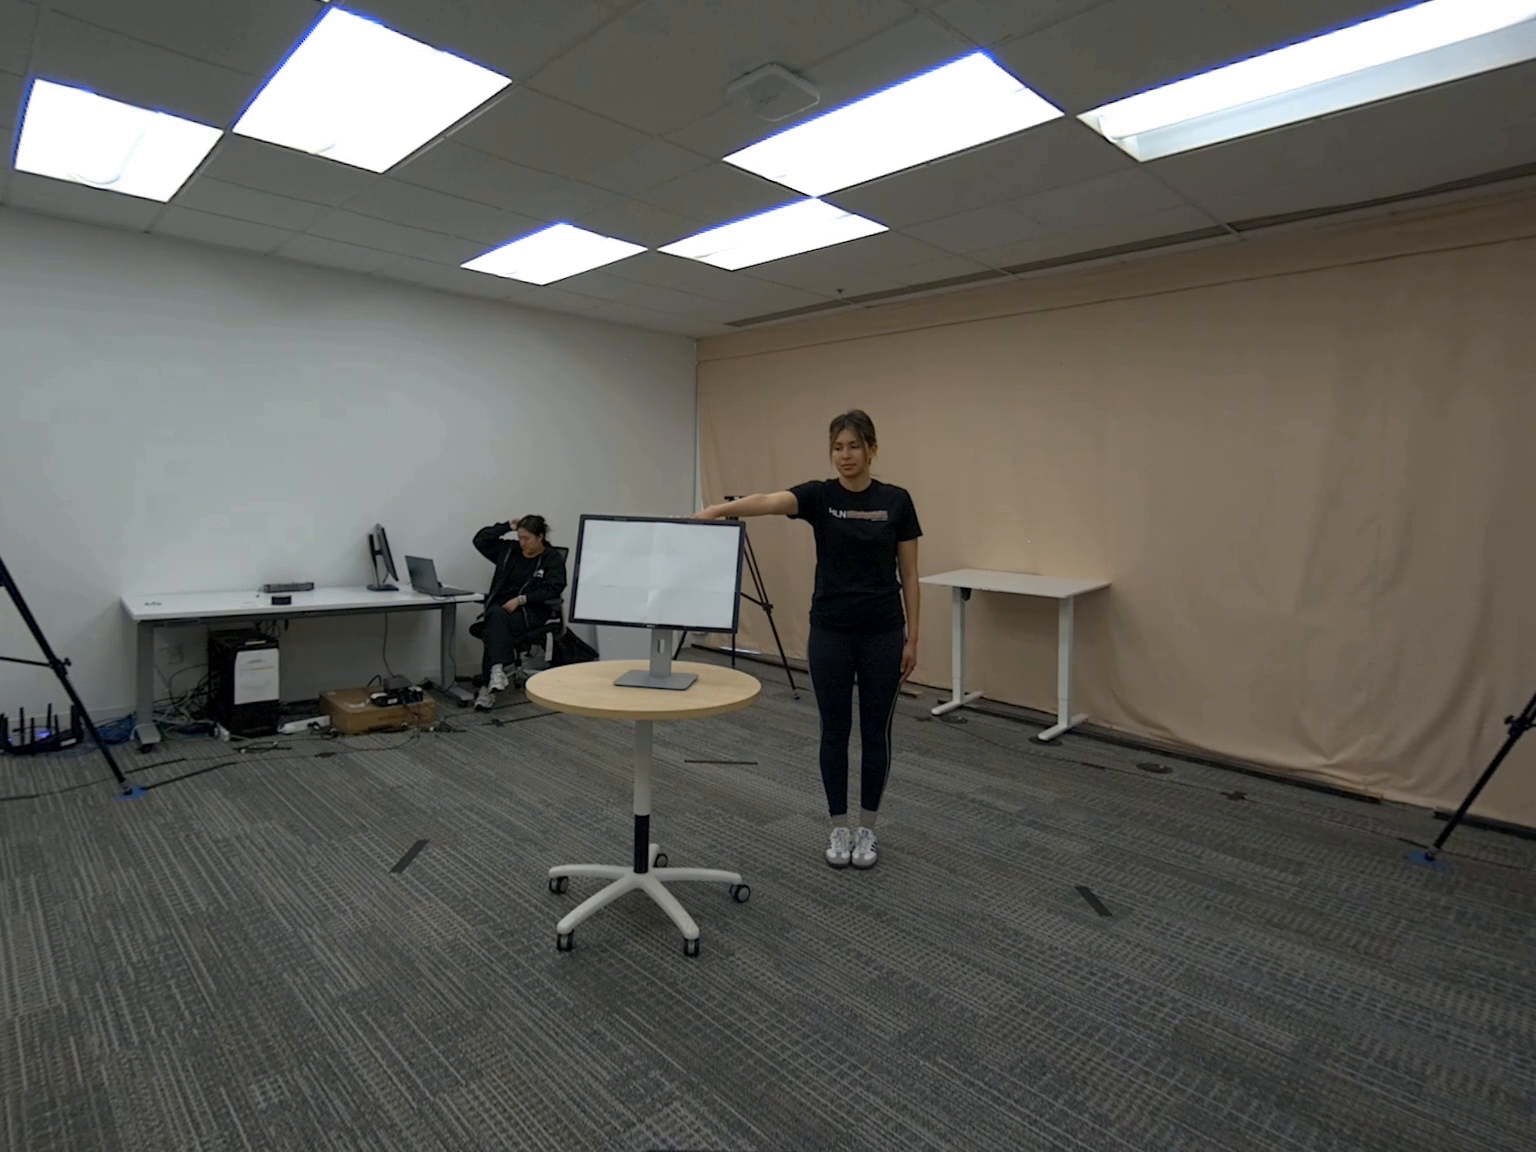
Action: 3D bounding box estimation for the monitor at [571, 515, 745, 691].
[{"bbox_3d":[-0.359,0.089,2.768,0.543,0.521,0.186,3,3,8],"label":"monitor"}]
